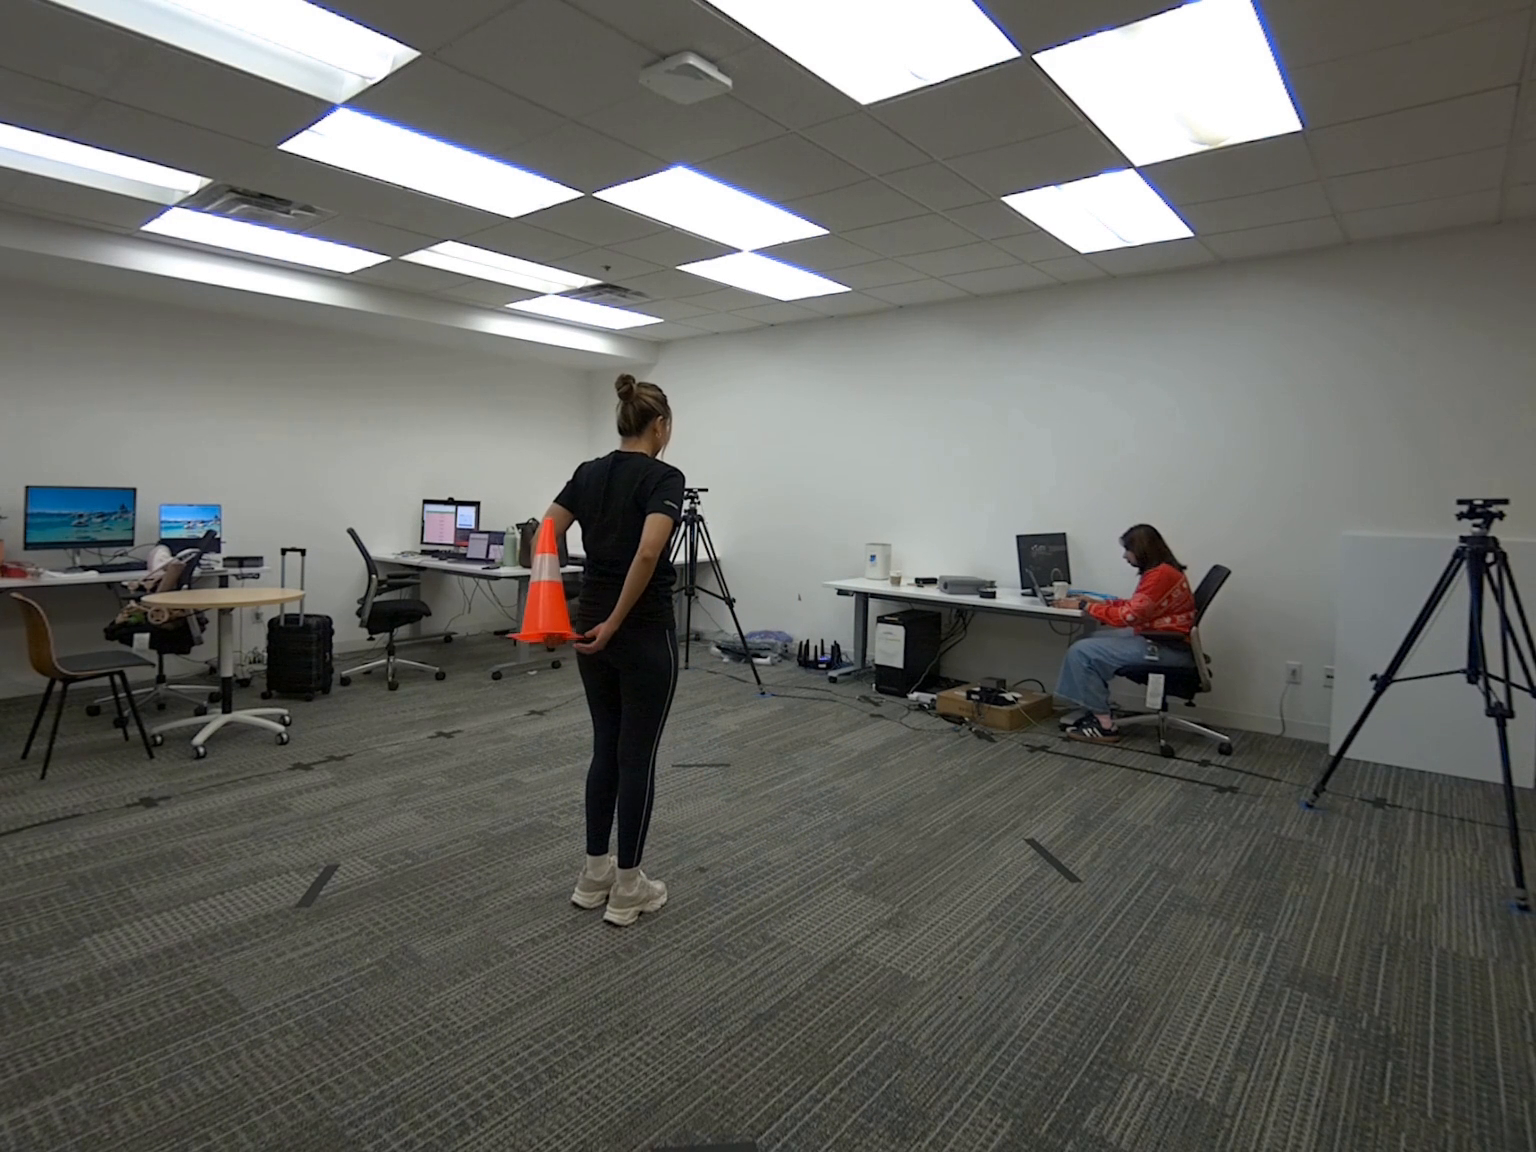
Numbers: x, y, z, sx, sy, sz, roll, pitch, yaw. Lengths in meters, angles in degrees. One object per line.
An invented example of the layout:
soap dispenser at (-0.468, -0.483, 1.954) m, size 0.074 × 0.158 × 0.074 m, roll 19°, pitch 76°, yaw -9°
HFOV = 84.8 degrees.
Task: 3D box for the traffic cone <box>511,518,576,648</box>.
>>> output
traffic cone at (-0.705, 0.004, 2.690) m, size 0.205 × 0.387 × 0.201 m, roll -2°, pitch -8°, yaw 0°
